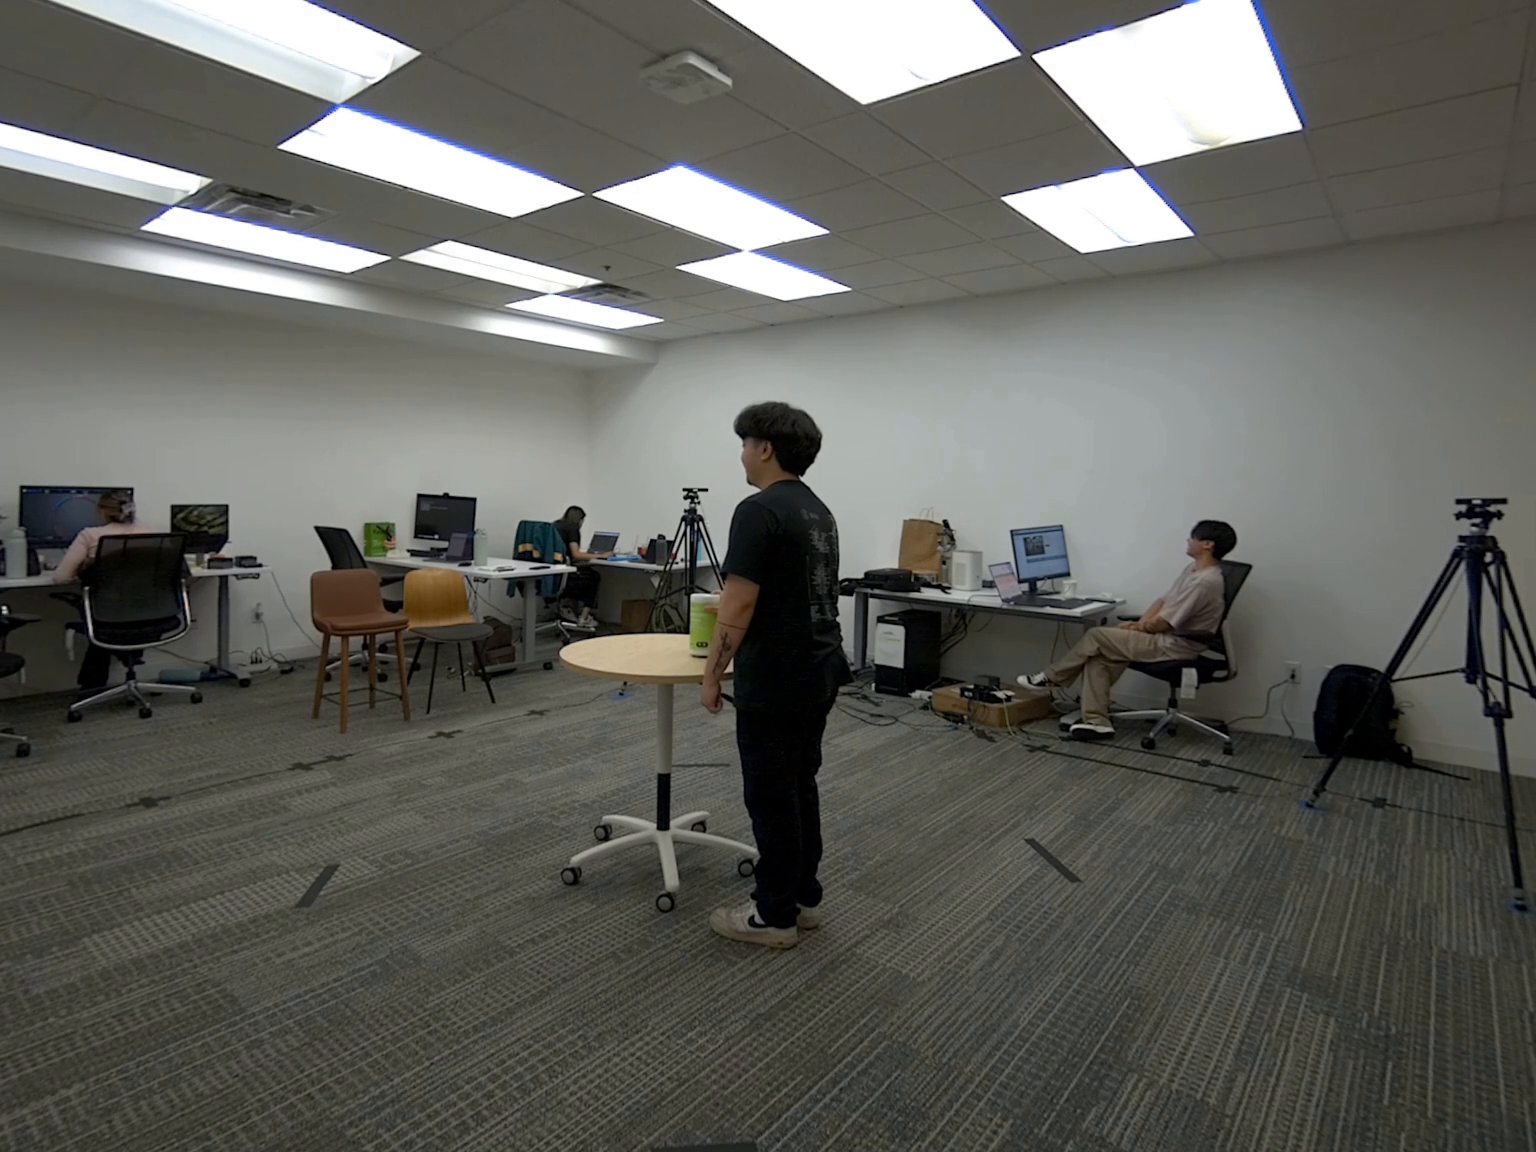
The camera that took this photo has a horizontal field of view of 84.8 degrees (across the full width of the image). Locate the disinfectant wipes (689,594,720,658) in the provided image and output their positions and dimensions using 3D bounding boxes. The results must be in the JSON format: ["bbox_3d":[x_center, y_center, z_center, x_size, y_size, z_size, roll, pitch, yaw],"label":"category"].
[{"bbox_3d":[-0.238,0.169,3.047,0.118,0.217,0.118,0,1,-2],"label":"disinfectant wipes"}]
